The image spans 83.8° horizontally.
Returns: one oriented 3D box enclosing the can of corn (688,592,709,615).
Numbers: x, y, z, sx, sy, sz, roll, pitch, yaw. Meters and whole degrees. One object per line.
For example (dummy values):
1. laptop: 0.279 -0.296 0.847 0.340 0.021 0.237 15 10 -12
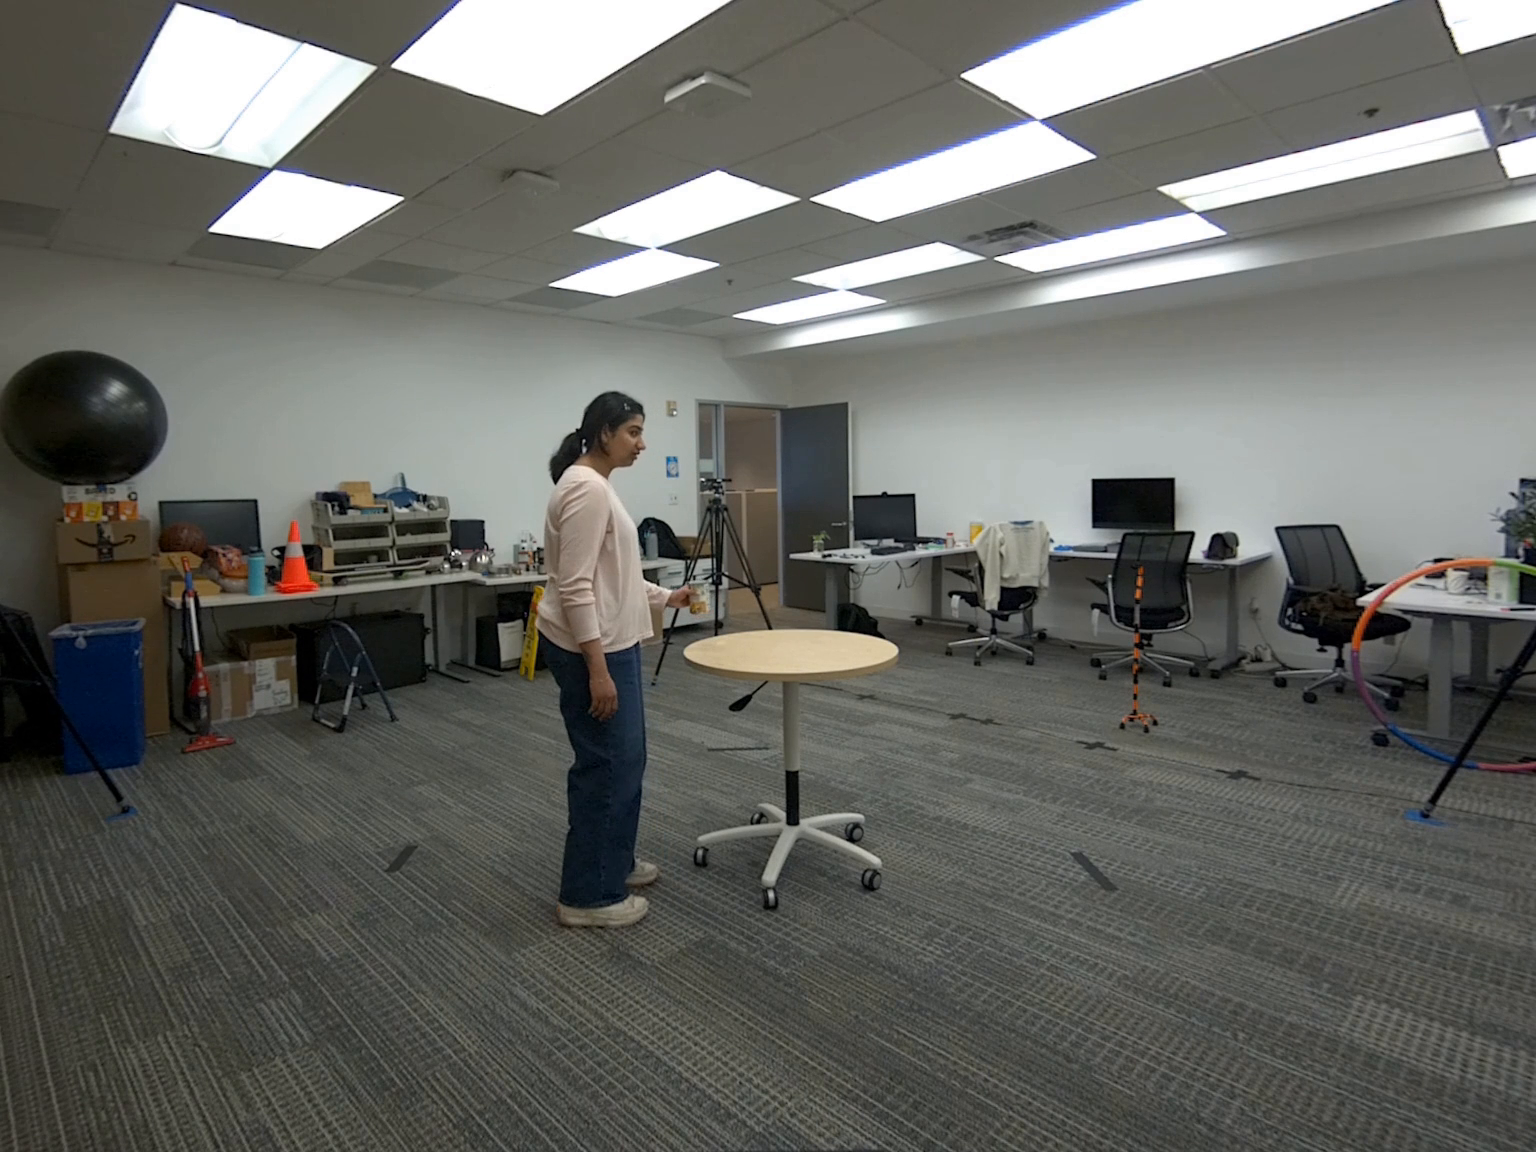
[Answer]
1. can of corn: -0.254 0.079 3.065 0.074 0.110 0.074 -6 5 -1
